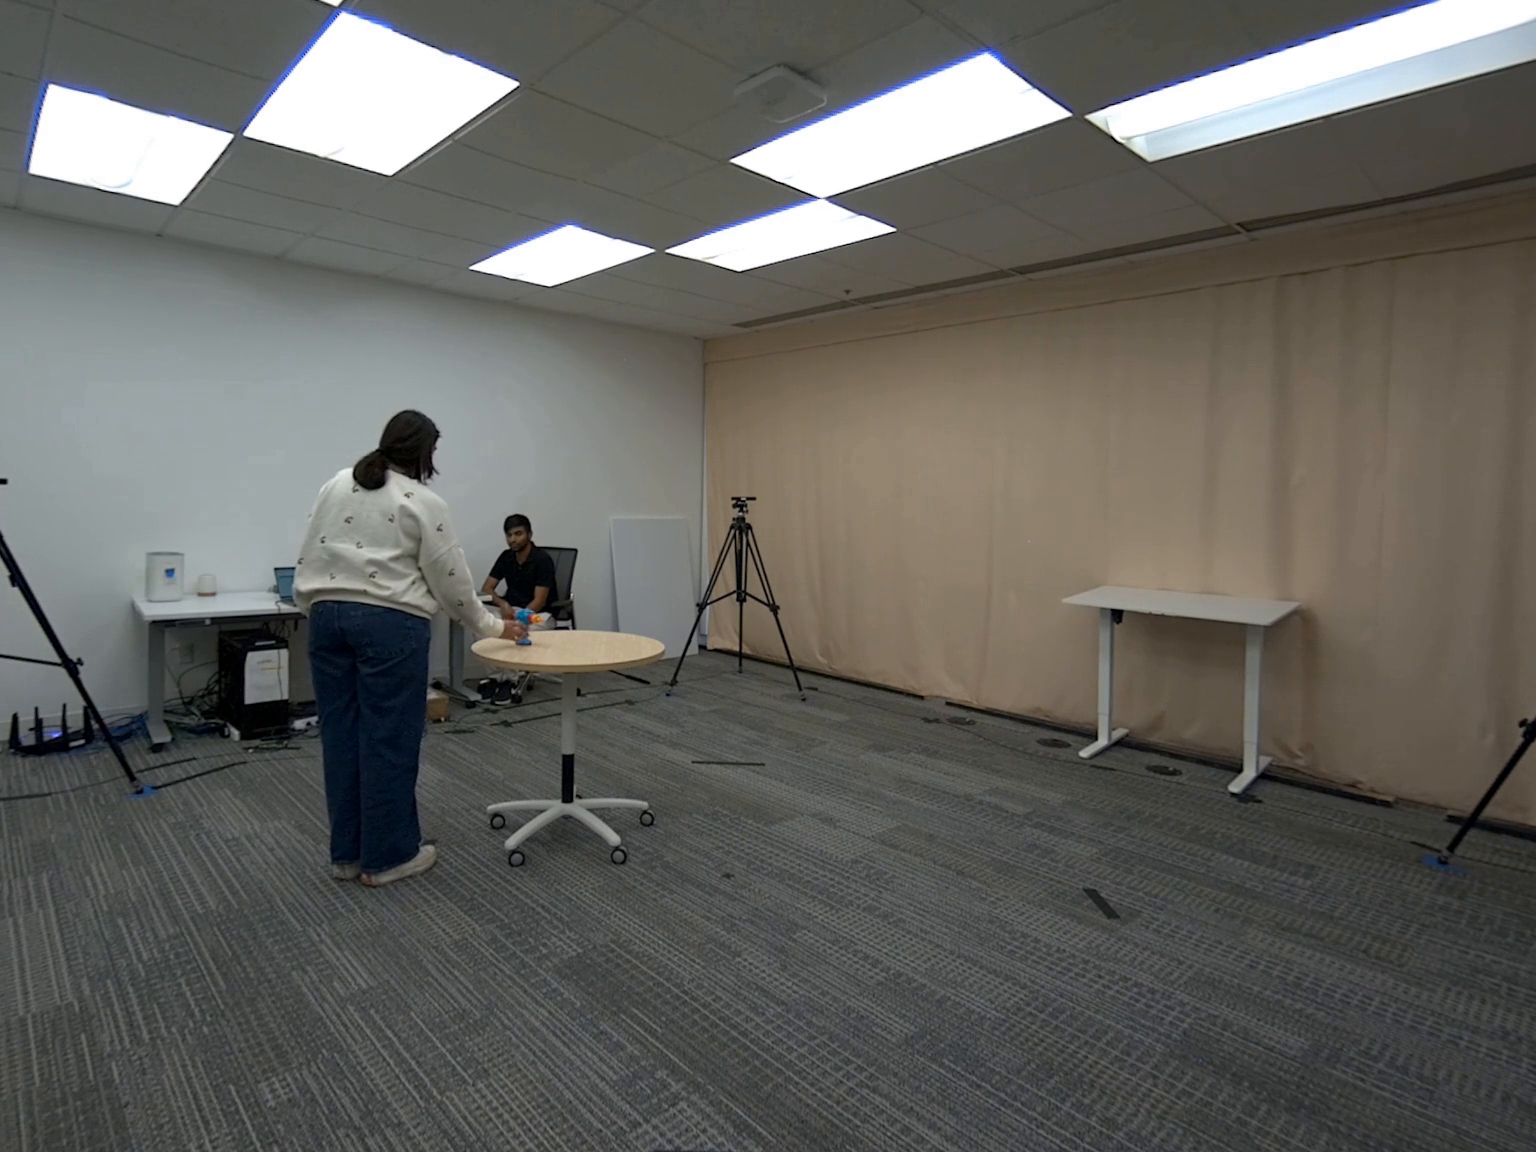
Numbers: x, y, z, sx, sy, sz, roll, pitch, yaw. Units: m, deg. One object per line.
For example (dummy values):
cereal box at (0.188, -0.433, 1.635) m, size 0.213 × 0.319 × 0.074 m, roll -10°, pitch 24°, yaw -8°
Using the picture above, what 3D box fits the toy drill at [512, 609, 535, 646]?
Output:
toy drill at (-0.962, 0.207, 3.373) m, size 0.174 × 0.146 × 0.060 m, roll 4°, pitch 2°, yaw 33°
